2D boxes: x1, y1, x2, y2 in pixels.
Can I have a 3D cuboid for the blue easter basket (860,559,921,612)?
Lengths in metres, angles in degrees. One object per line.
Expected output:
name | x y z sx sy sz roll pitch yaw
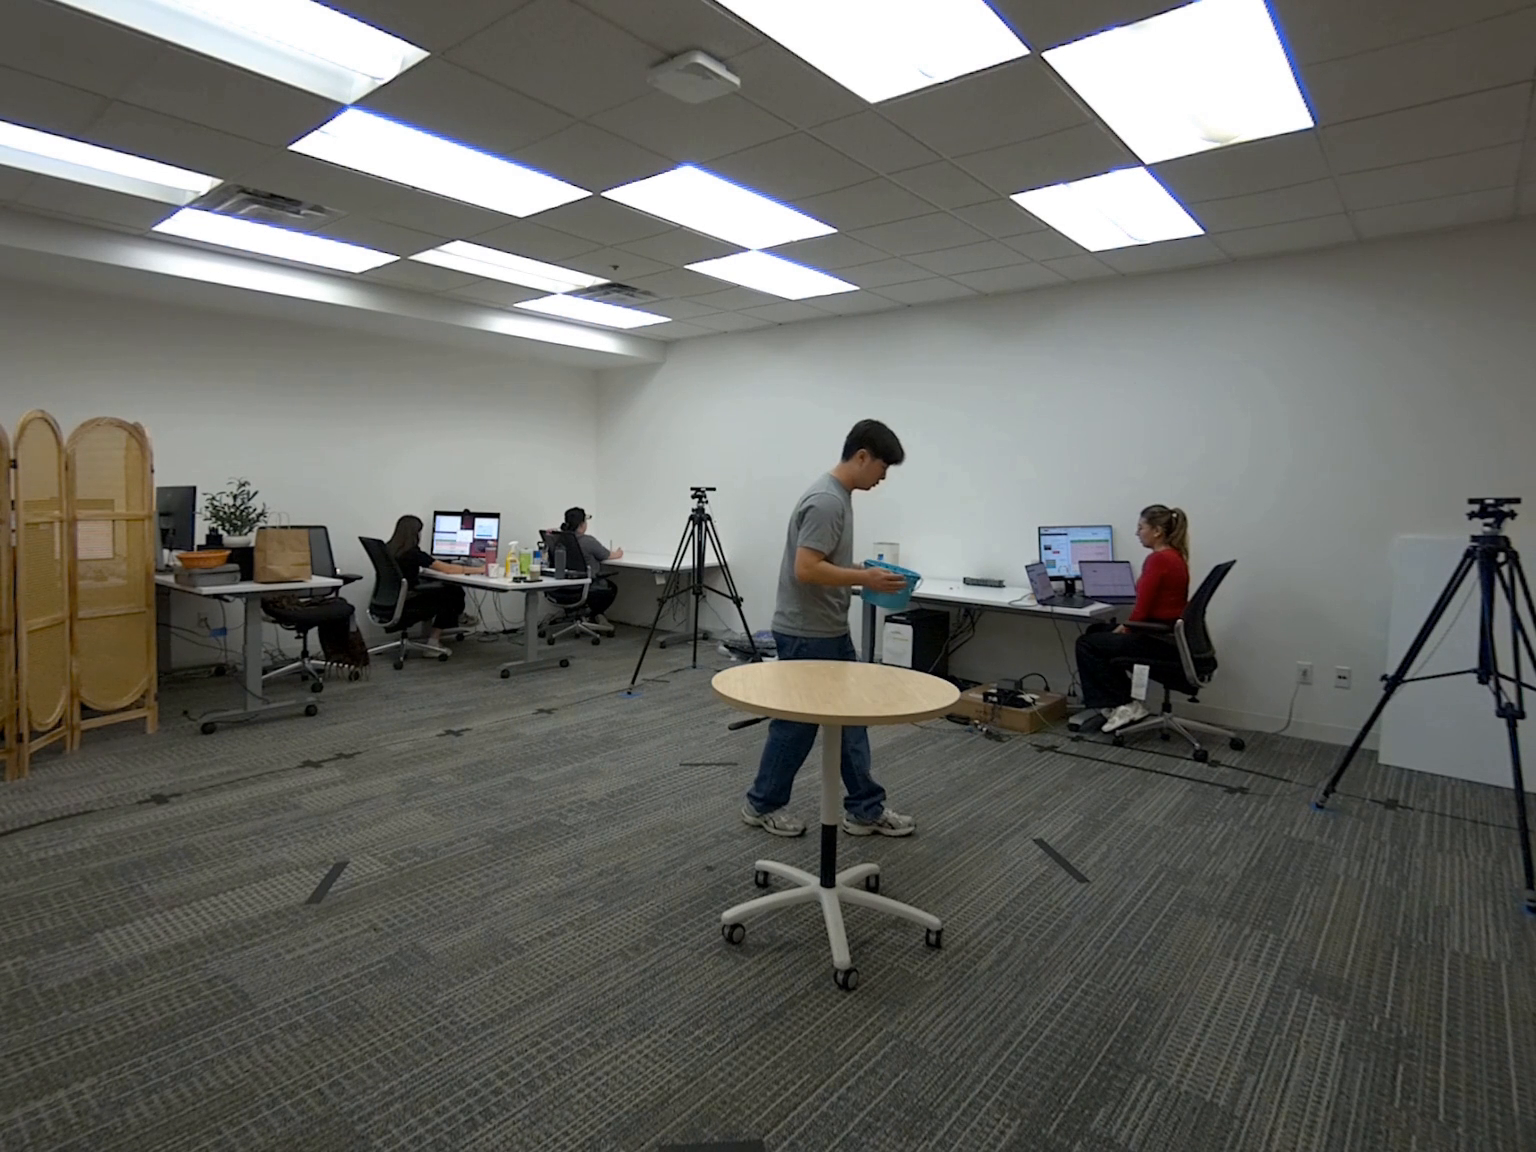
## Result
blue easter basket | 0.472 0.040 3.374 0.243 0.155 0.245 13 6 -3
